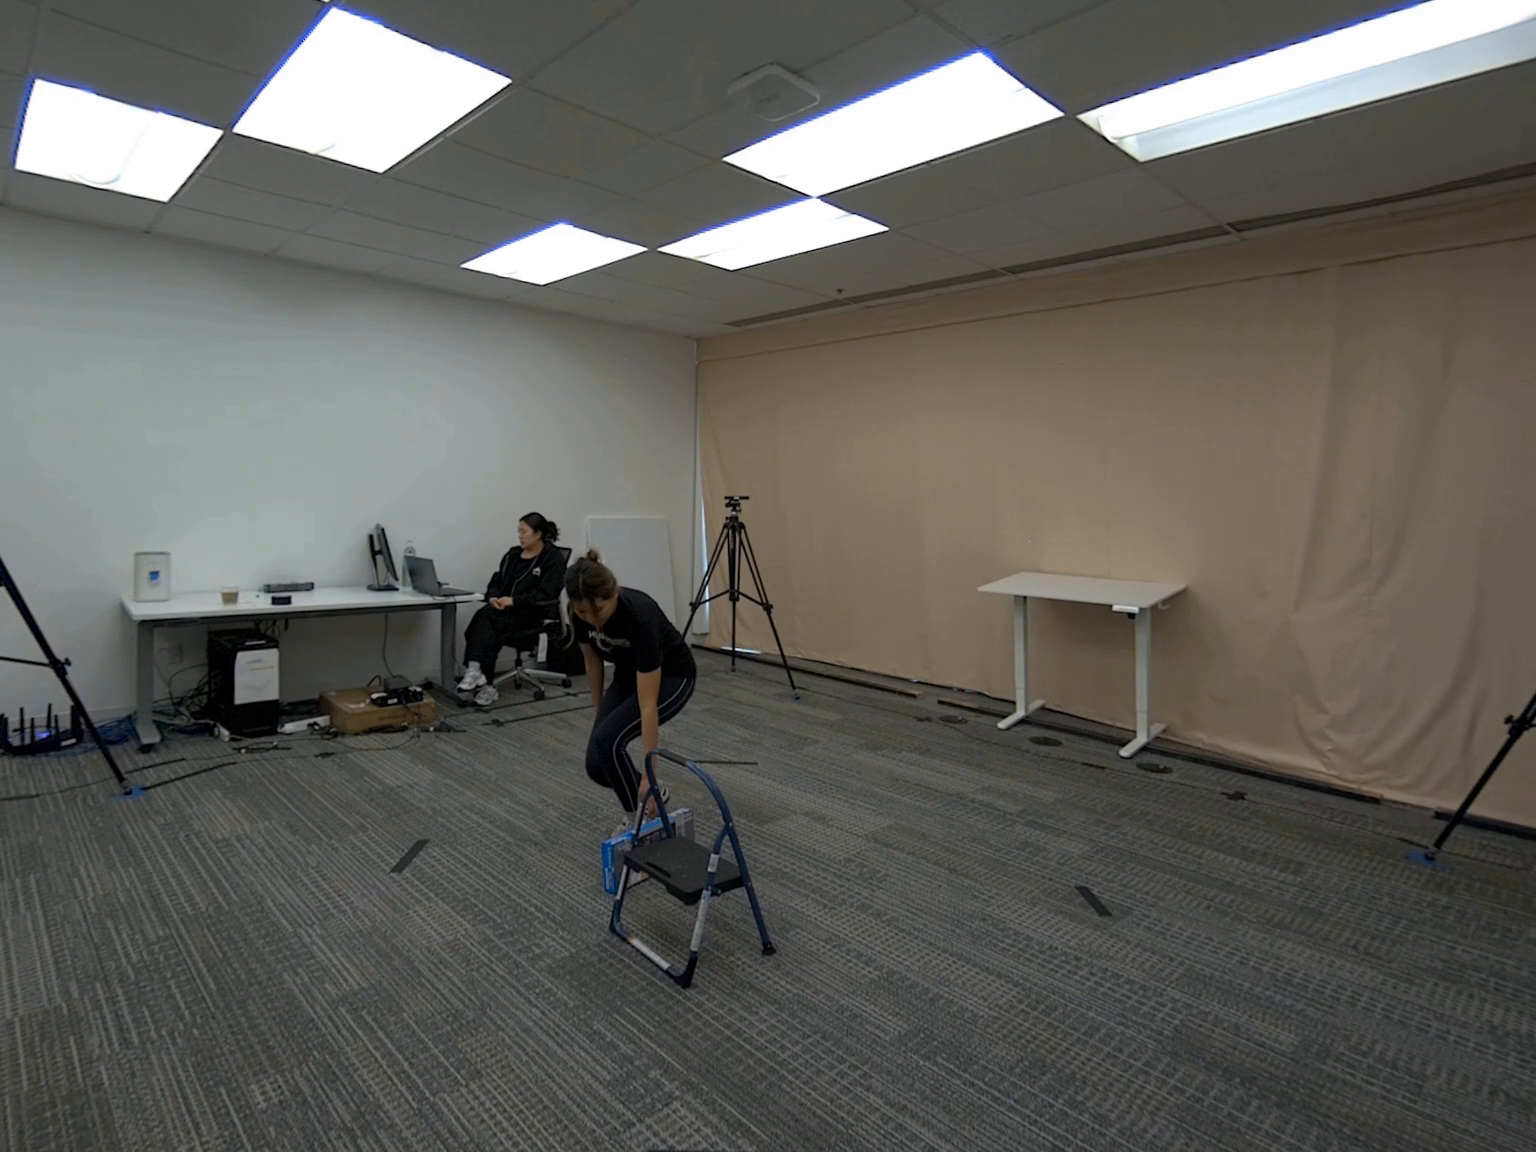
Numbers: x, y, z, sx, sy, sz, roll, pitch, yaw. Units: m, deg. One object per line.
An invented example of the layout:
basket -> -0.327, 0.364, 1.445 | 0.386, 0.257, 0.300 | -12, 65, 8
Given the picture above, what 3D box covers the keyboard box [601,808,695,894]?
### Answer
keyboard box -> -0.440, 1.011, 3.109 | 0.060, 0.176, 0.427 | -3, 2, 36
